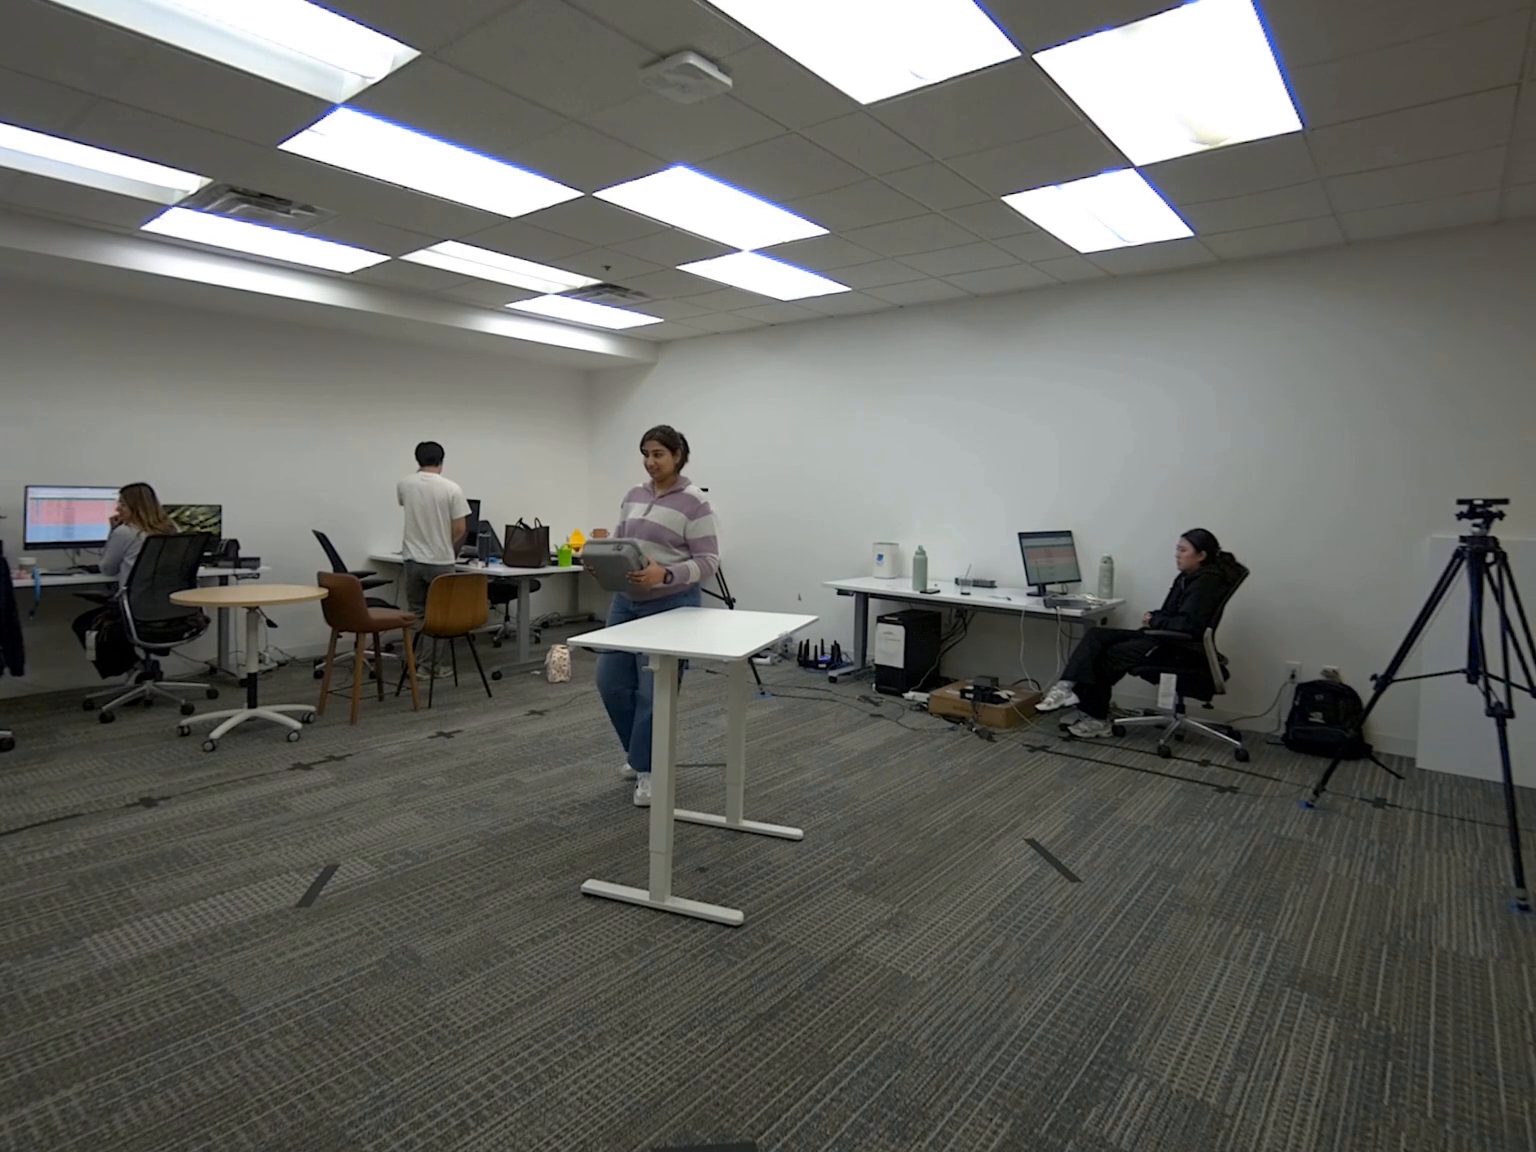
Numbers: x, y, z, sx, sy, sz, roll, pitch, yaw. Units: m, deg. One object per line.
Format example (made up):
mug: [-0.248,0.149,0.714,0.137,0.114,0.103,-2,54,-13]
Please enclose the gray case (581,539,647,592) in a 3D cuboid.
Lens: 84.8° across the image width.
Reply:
gray case: [-0.642,-0.050,3.575,0.267,0.106,0.247,0,-42,27]
